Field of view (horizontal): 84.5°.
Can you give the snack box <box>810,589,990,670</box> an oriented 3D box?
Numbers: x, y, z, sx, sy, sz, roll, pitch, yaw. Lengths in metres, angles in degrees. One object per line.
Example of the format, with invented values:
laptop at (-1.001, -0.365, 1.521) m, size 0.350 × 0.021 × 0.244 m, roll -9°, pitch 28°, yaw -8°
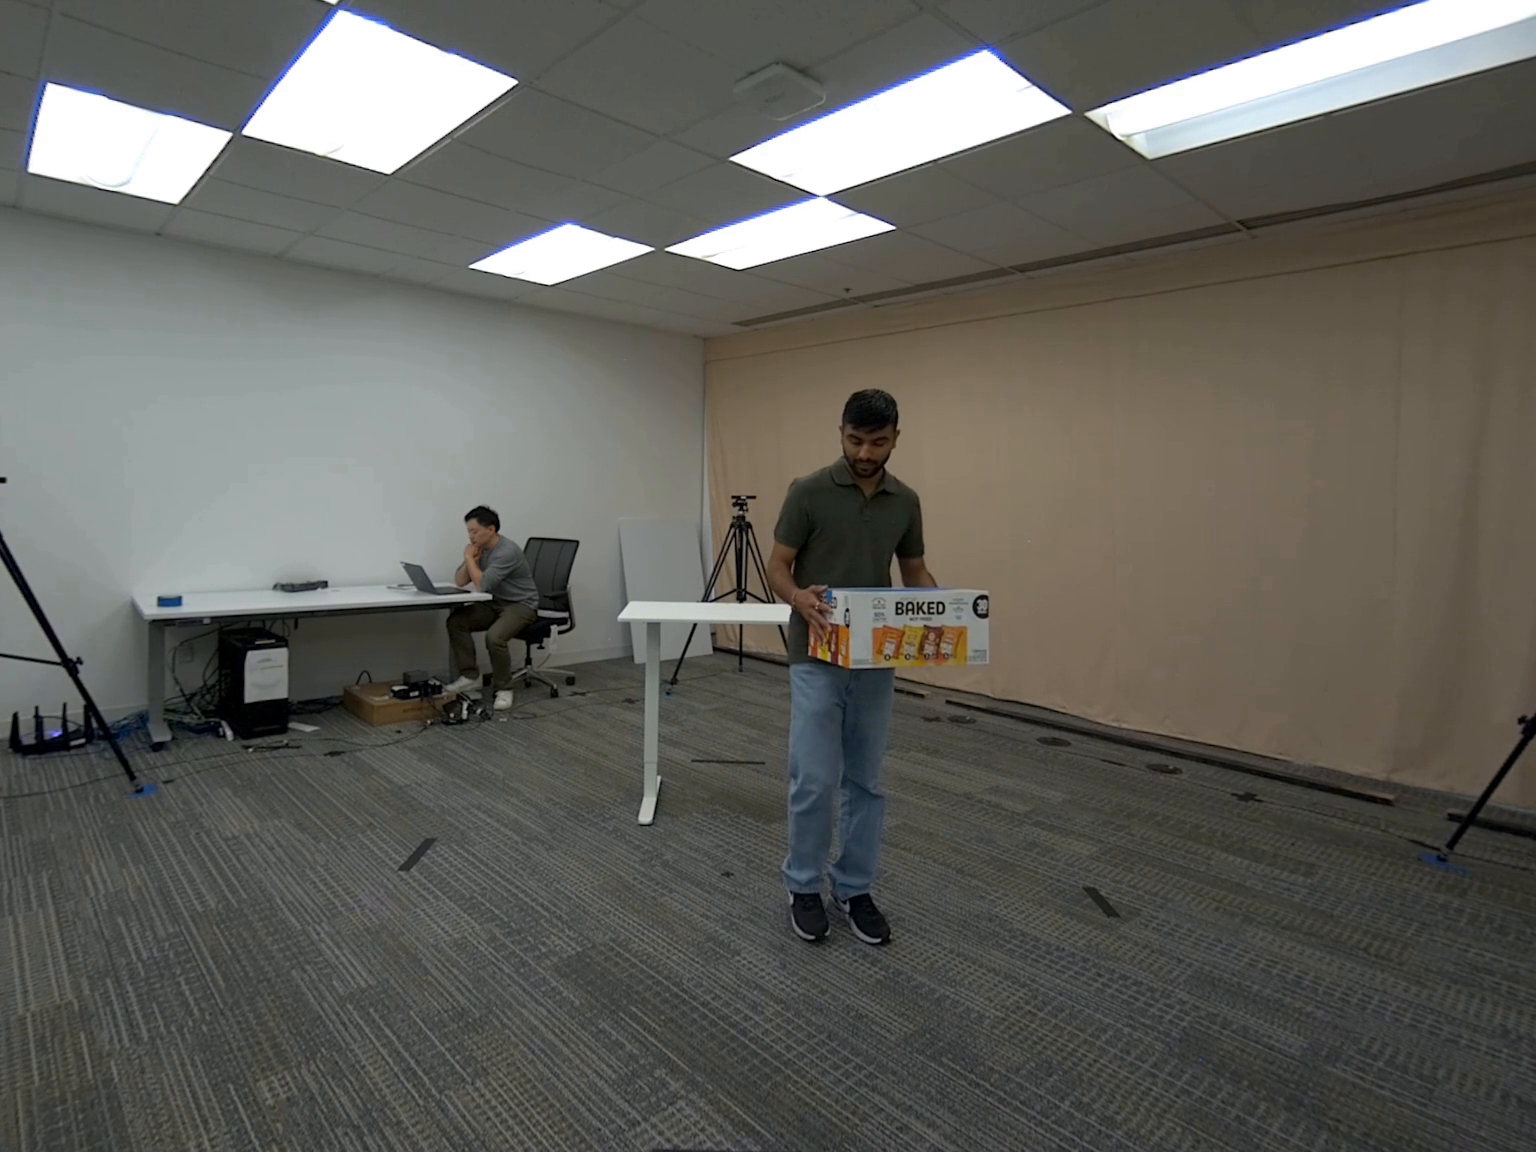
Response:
snack box at (0.345, 0.141, 2.396) m, size 0.400 × 0.206 × 0.344 m, roll 0°, pitch 0°, yaw -15°
